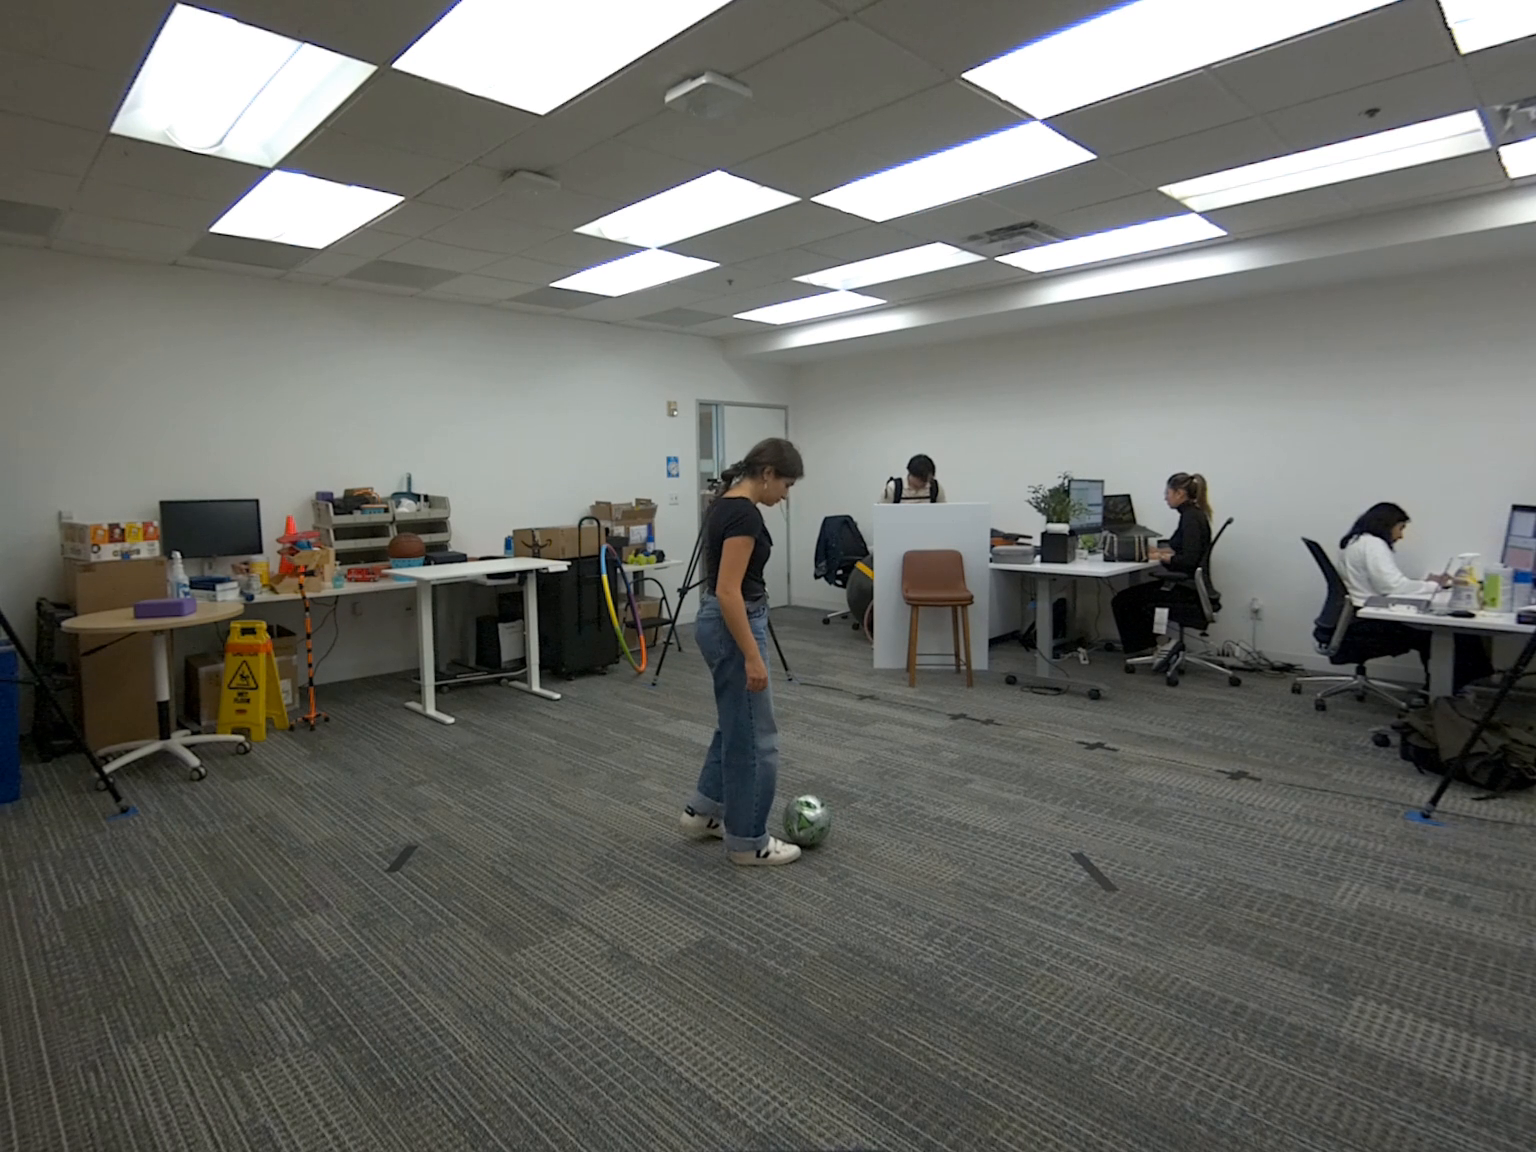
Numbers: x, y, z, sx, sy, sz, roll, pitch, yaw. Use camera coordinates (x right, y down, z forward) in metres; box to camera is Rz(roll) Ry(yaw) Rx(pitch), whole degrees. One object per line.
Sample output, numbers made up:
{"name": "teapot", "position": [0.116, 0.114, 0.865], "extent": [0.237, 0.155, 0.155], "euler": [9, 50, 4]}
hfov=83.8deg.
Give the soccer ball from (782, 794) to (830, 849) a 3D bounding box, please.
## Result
{"name": "soccer ball", "position": [0.148, 0.927, 3.251], "extent": [0.187, 0.187, 0.188], "euler": [-1, 5, -2]}
